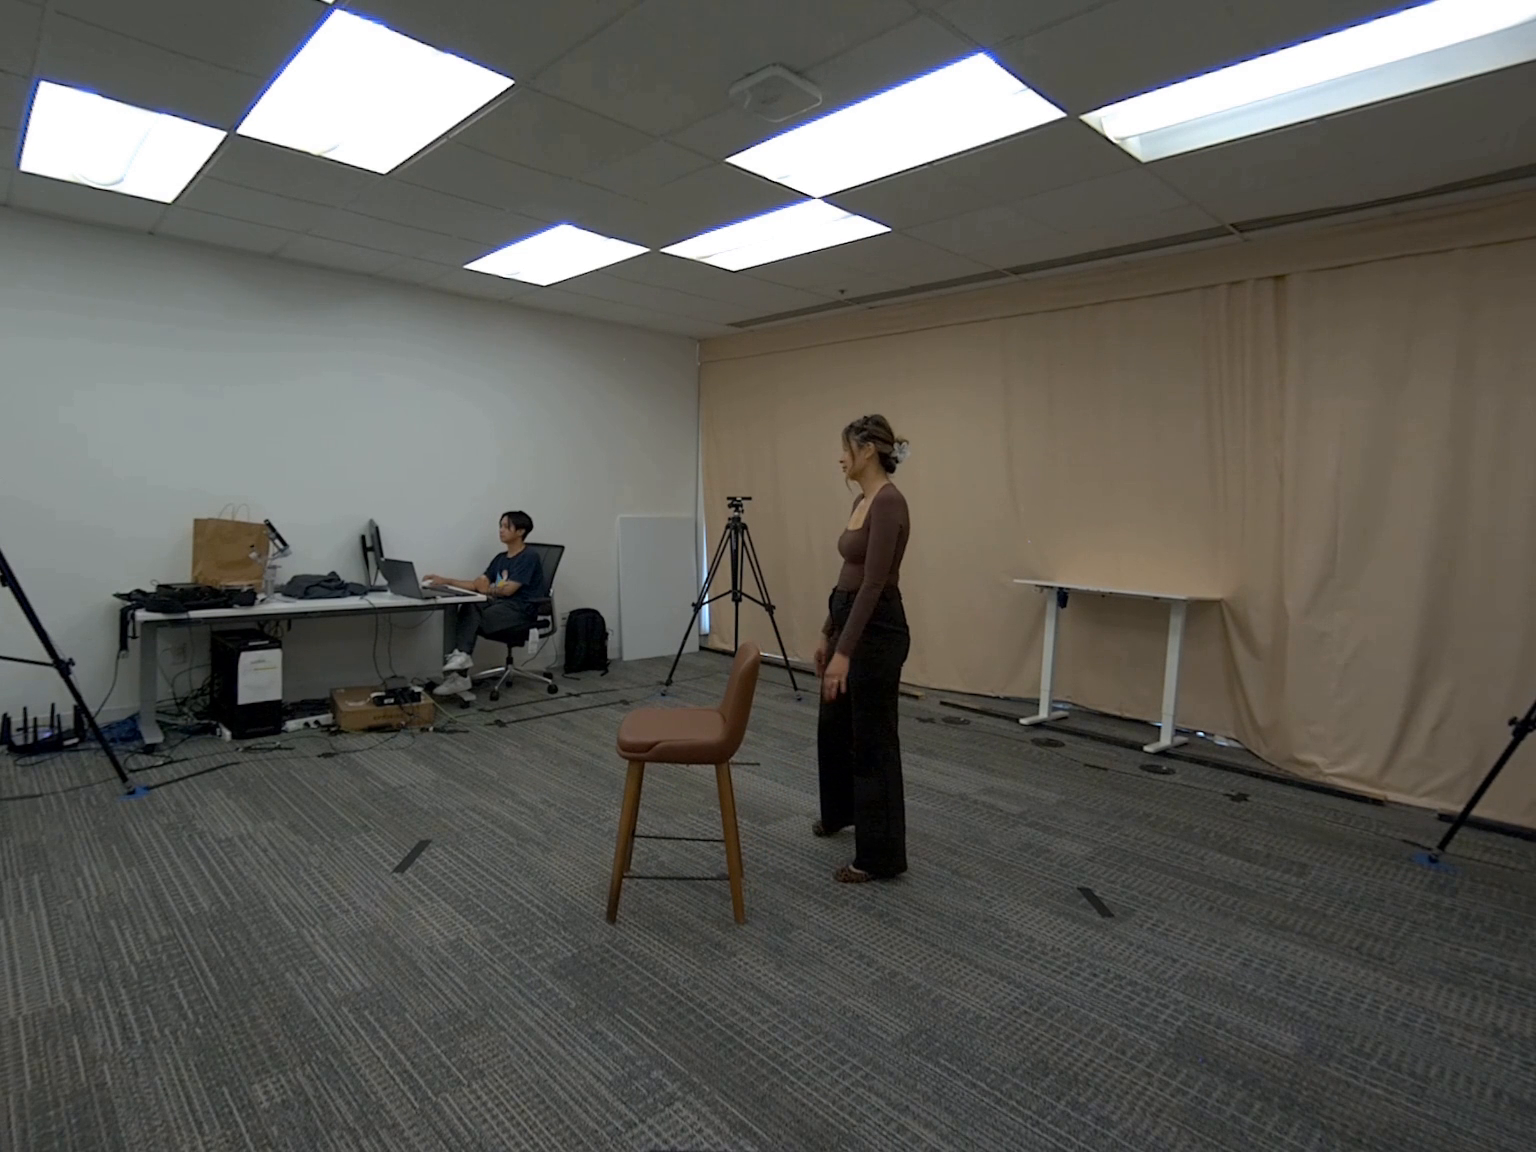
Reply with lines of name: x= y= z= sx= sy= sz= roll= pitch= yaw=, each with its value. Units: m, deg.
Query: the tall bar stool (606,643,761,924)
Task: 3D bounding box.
tall bar stool: x=-0.294 y=0.686 z=2.910 sx=0.467 sy=0.887 sz=0.458 roll=3 pitch=4 yaw=-1
